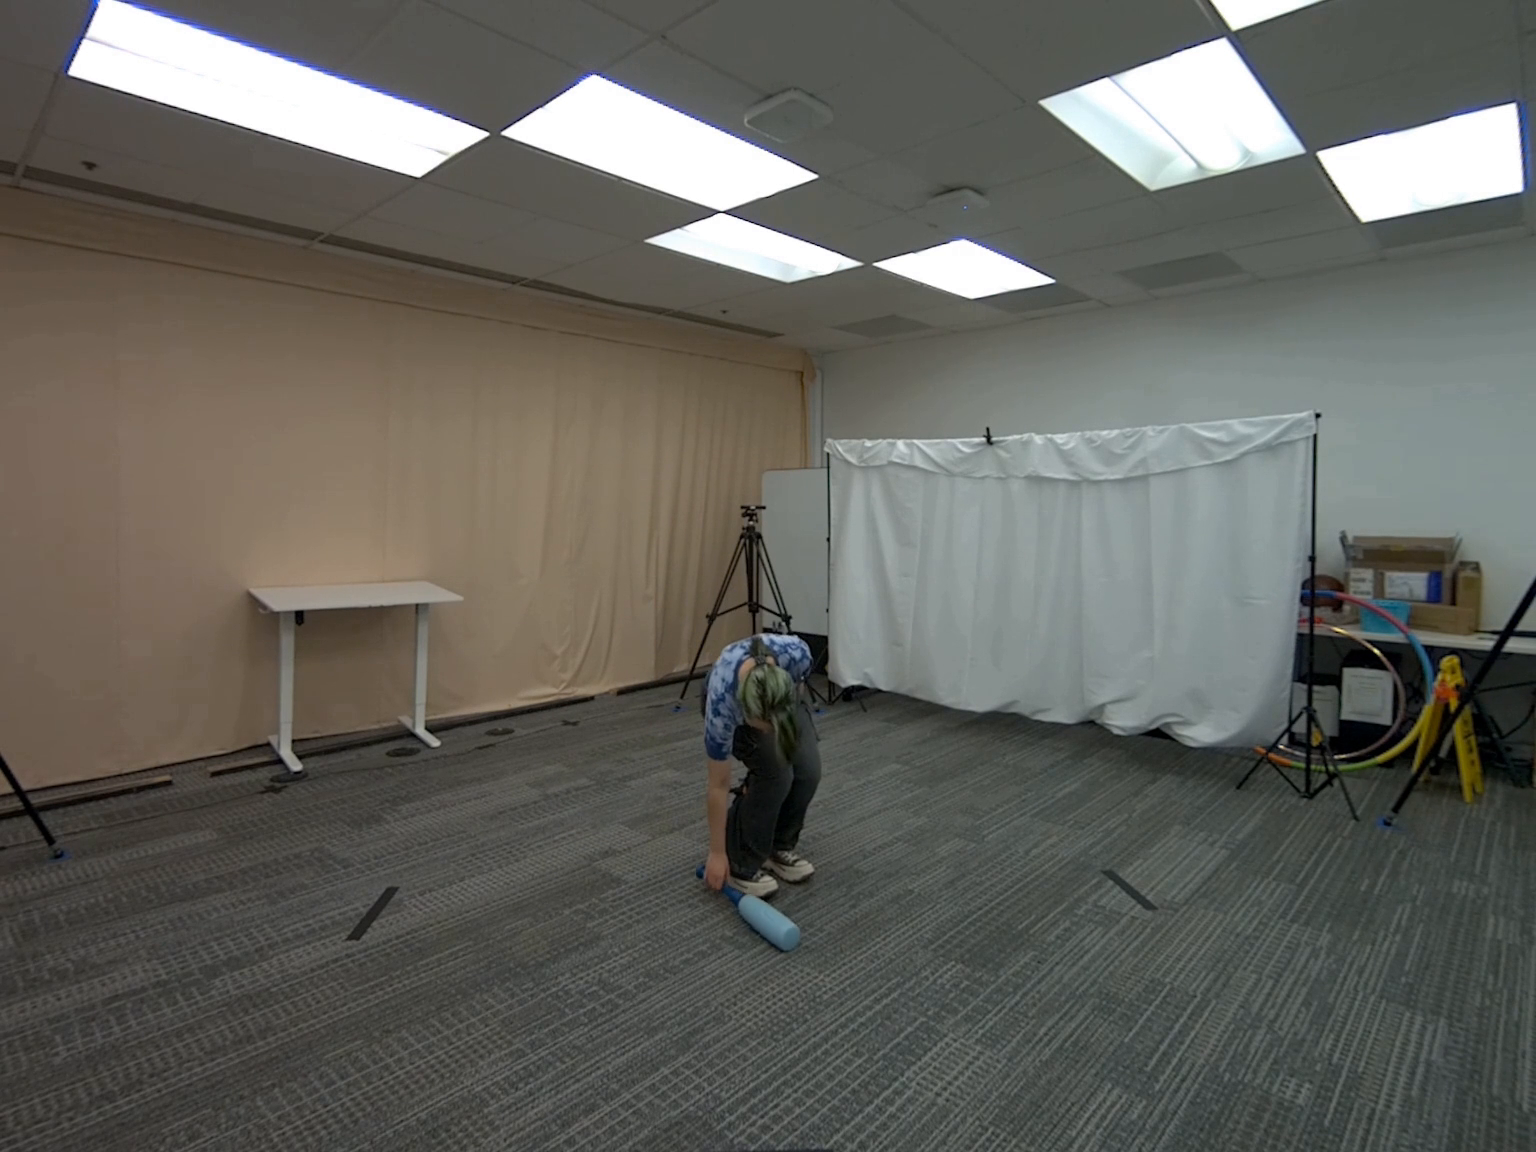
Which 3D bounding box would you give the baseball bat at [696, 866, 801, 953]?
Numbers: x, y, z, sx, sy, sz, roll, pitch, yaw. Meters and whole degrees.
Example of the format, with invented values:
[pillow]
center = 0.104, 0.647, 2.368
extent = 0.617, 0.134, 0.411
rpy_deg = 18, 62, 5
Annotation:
[baseball bat]
center = -0.083, 1.094, 2.842
extent = 0.086, 0.089, 0.561
rpy_deg = -3, 7, -35
